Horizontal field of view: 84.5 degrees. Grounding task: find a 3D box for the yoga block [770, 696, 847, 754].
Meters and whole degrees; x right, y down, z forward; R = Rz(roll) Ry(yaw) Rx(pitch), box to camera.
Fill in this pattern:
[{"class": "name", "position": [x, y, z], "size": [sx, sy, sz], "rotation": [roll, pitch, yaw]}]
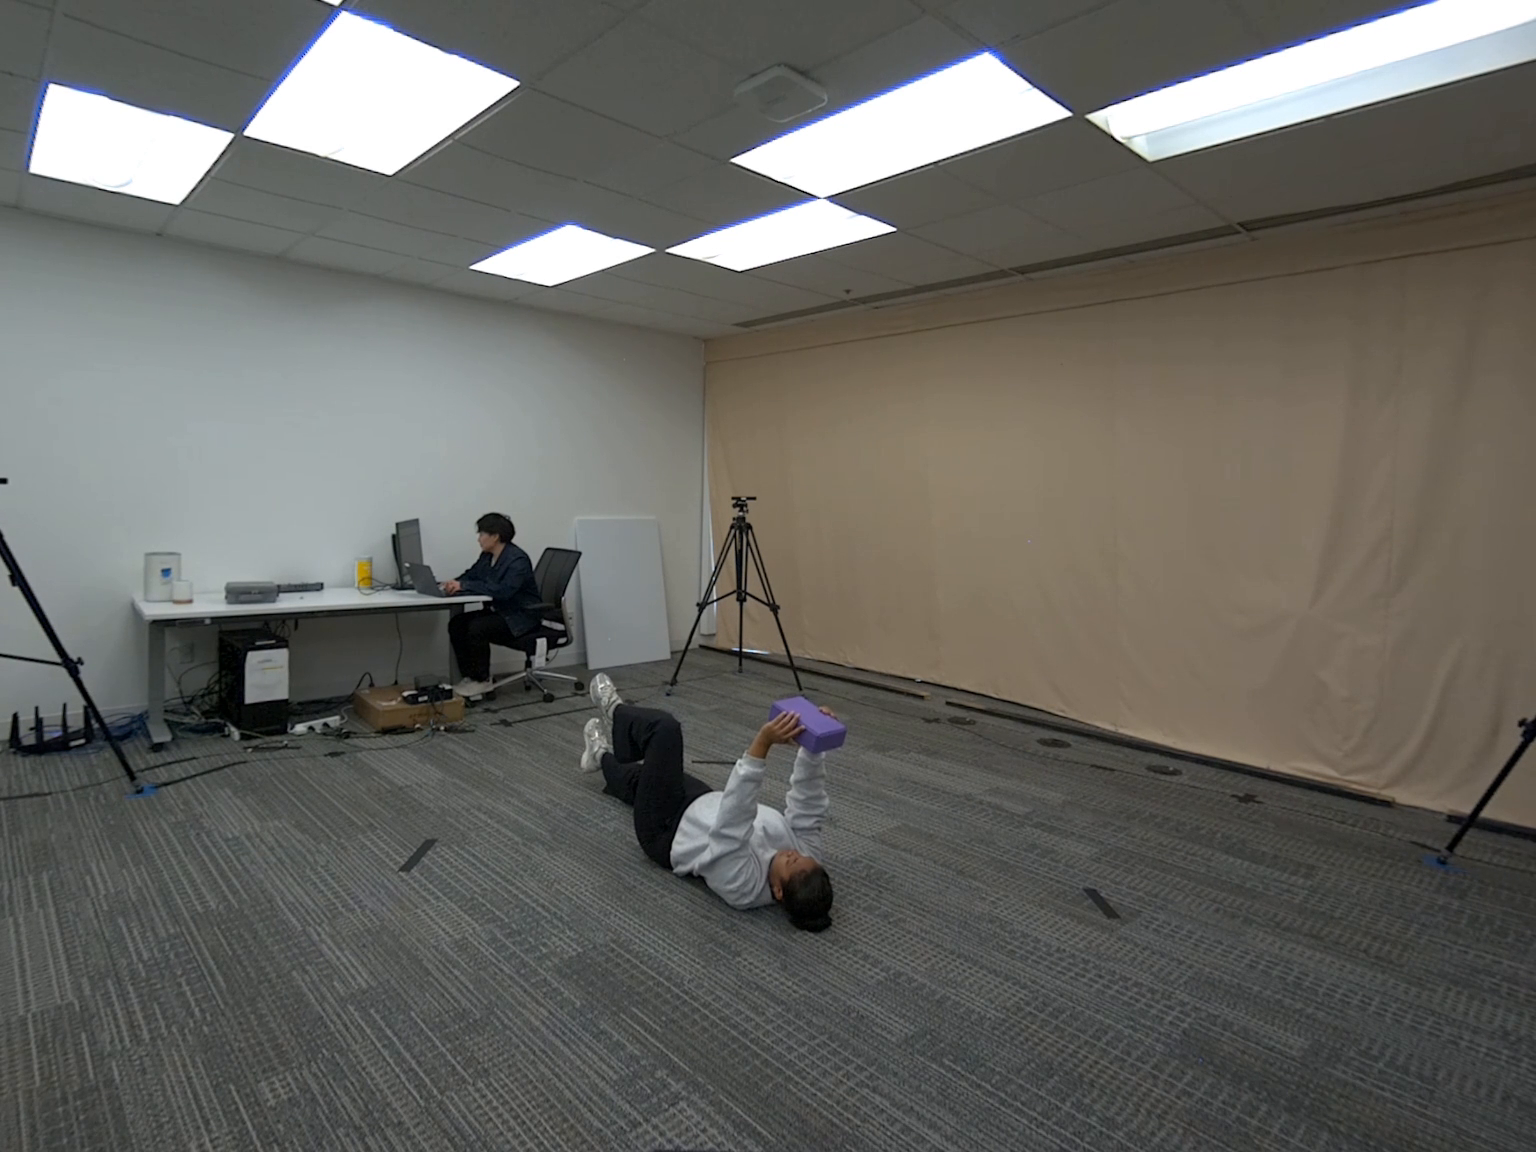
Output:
[{"class": "yoga block", "position": [0.131, 0.498, 2.789], "size": [0.145, 0.076, 0.236], "rotation": [-3, 23, -43]}]
